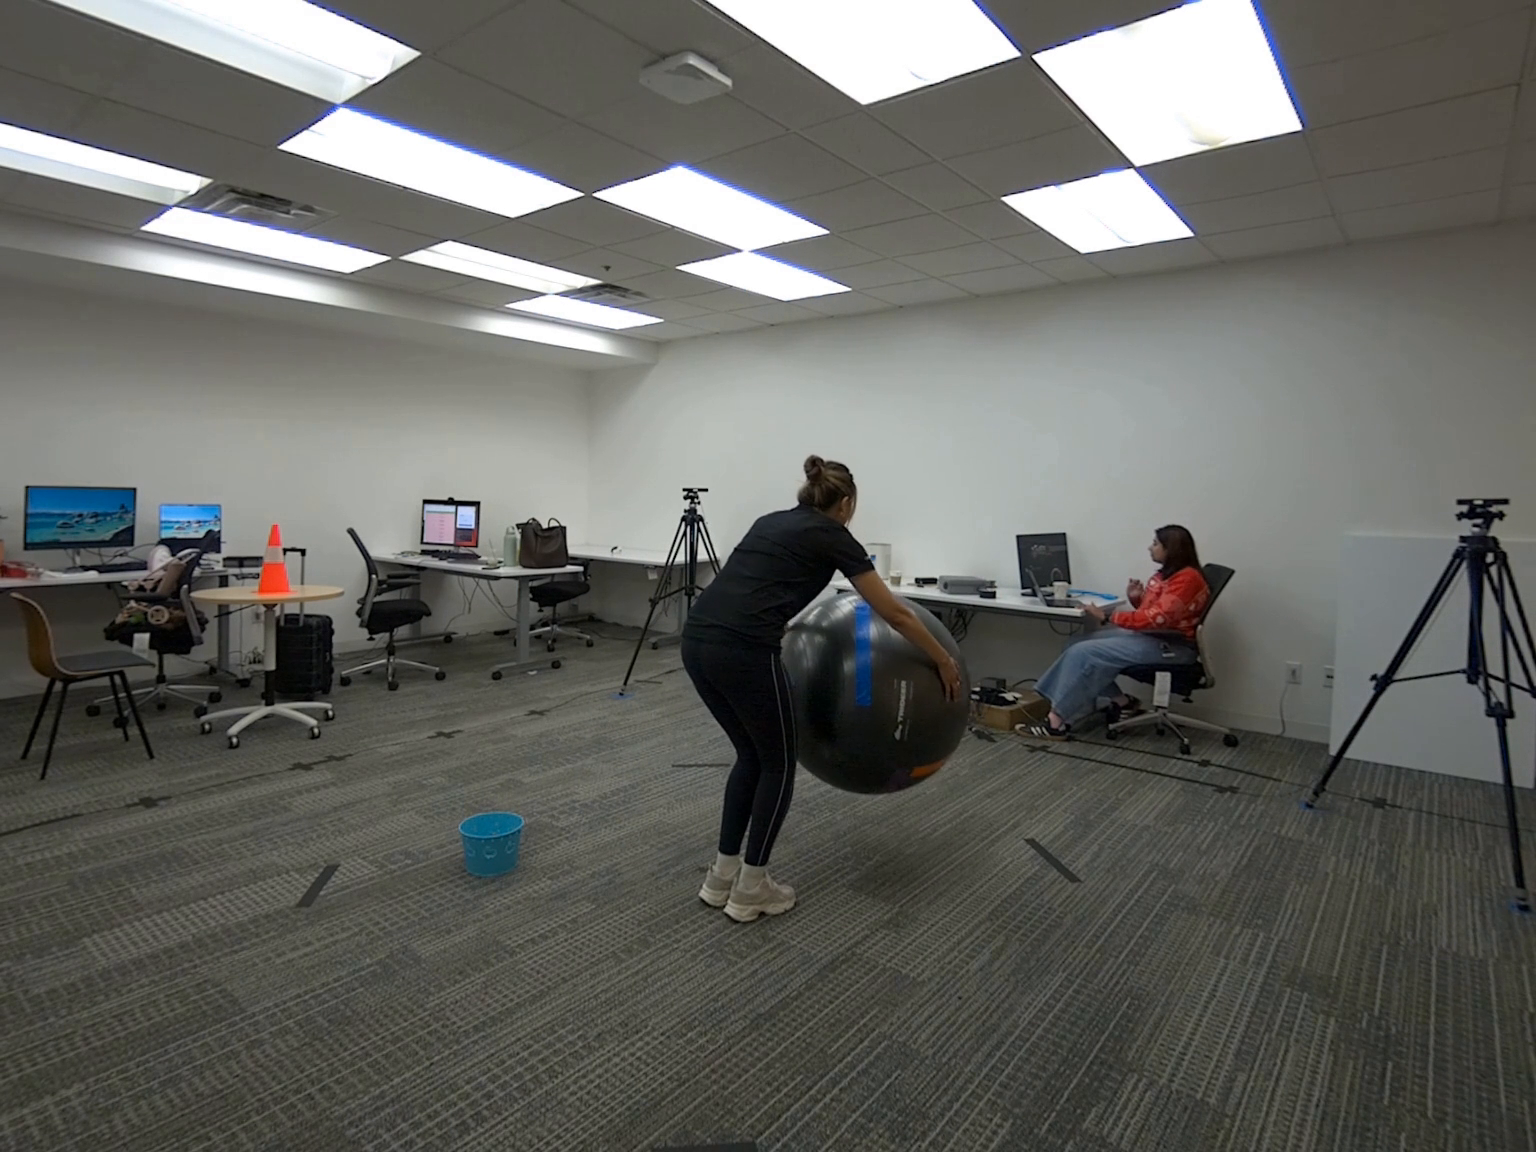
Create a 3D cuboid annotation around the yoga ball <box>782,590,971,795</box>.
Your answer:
[{"bbox_3d":[0.382,0.437,3.236,0.757,0.756,0.762,1,4,-2],"label":"yoga ball"}]
